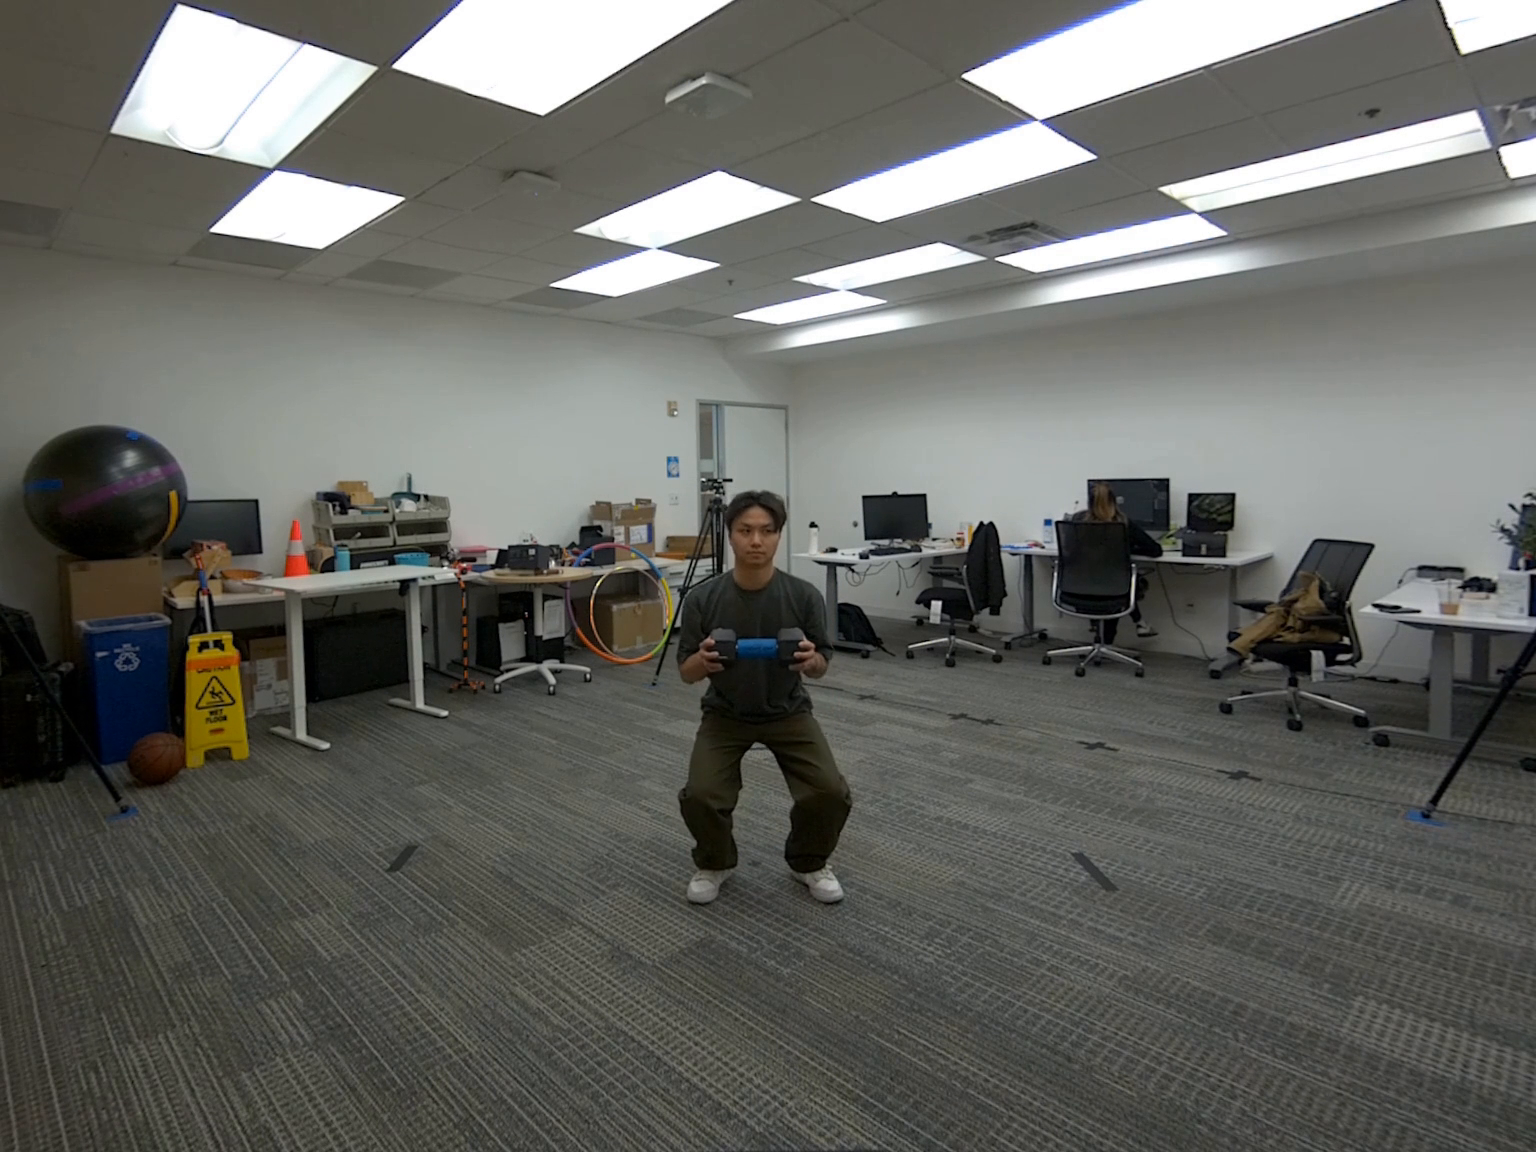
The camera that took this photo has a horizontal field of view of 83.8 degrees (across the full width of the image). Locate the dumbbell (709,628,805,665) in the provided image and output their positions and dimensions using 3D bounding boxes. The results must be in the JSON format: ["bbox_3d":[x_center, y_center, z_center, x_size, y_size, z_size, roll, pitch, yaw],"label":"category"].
[{"bbox_3d":[-0.051,0.233,2.683,0.295,0.111,0.119,-1,-30,4],"label":"dumbbell"}]
